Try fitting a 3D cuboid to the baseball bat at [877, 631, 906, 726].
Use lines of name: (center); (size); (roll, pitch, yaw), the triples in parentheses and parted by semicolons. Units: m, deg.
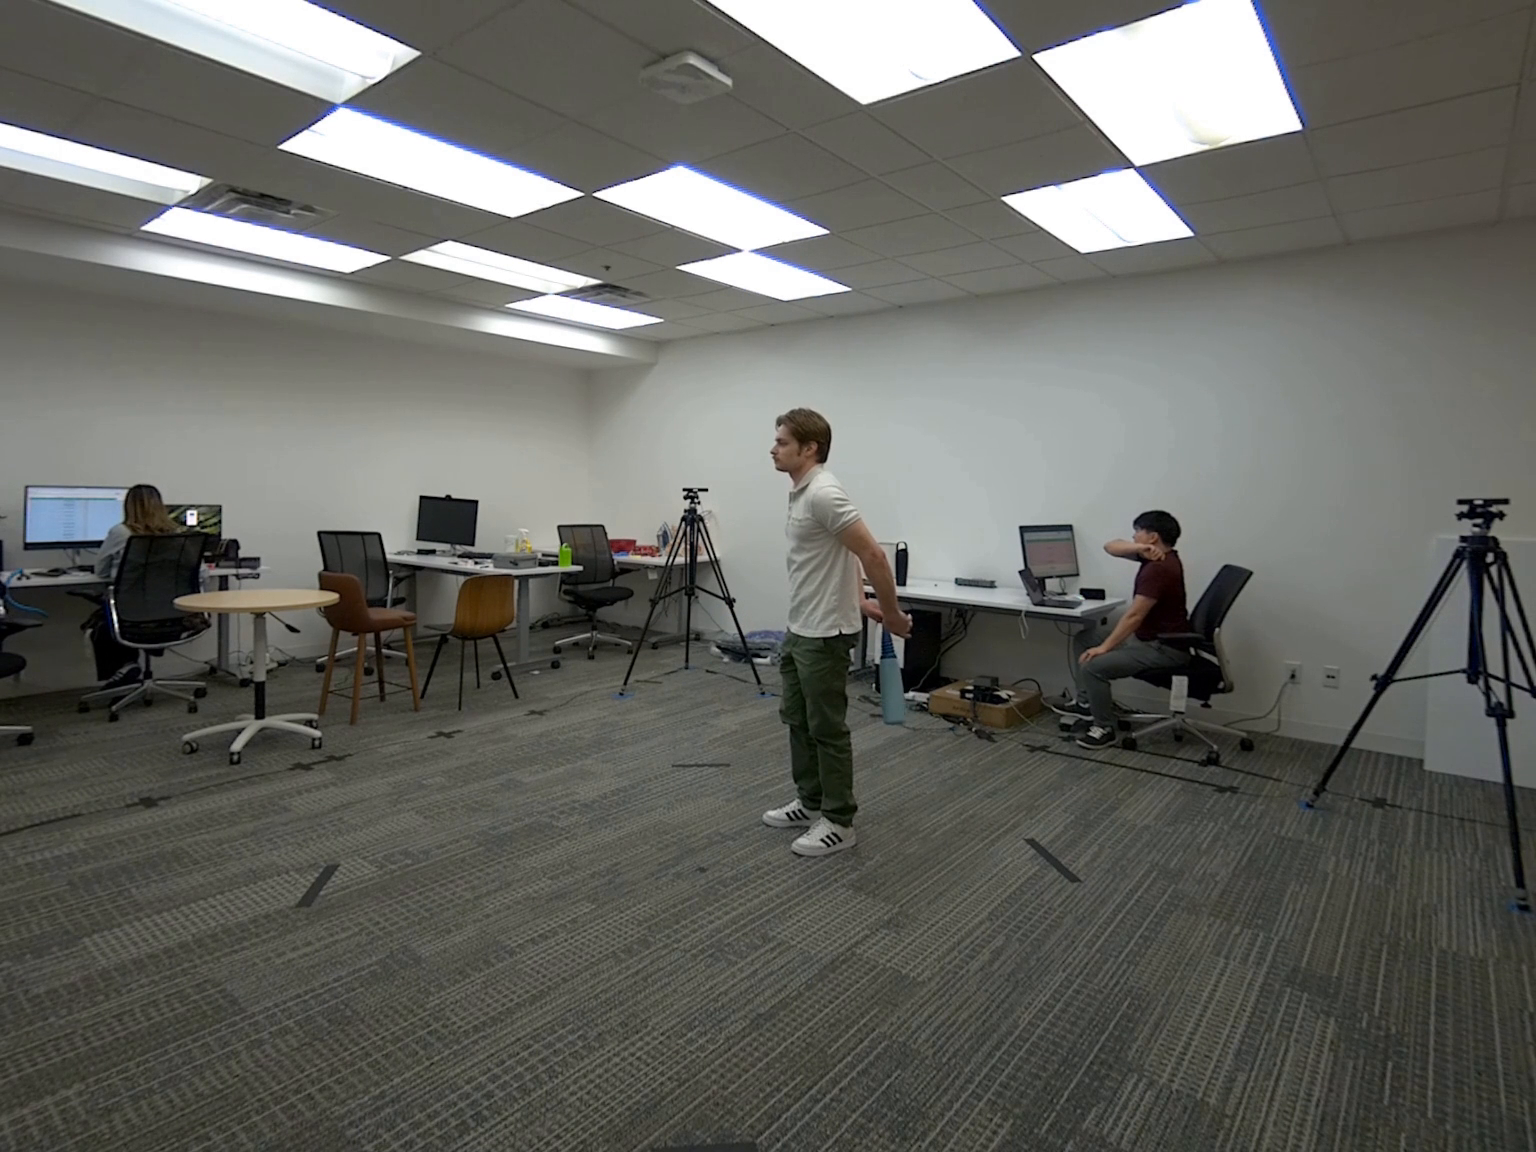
baseball bat: (0.473, 0.310, 3.342); (0.089, 0.550, 0.088); (-3, -12, -2)
